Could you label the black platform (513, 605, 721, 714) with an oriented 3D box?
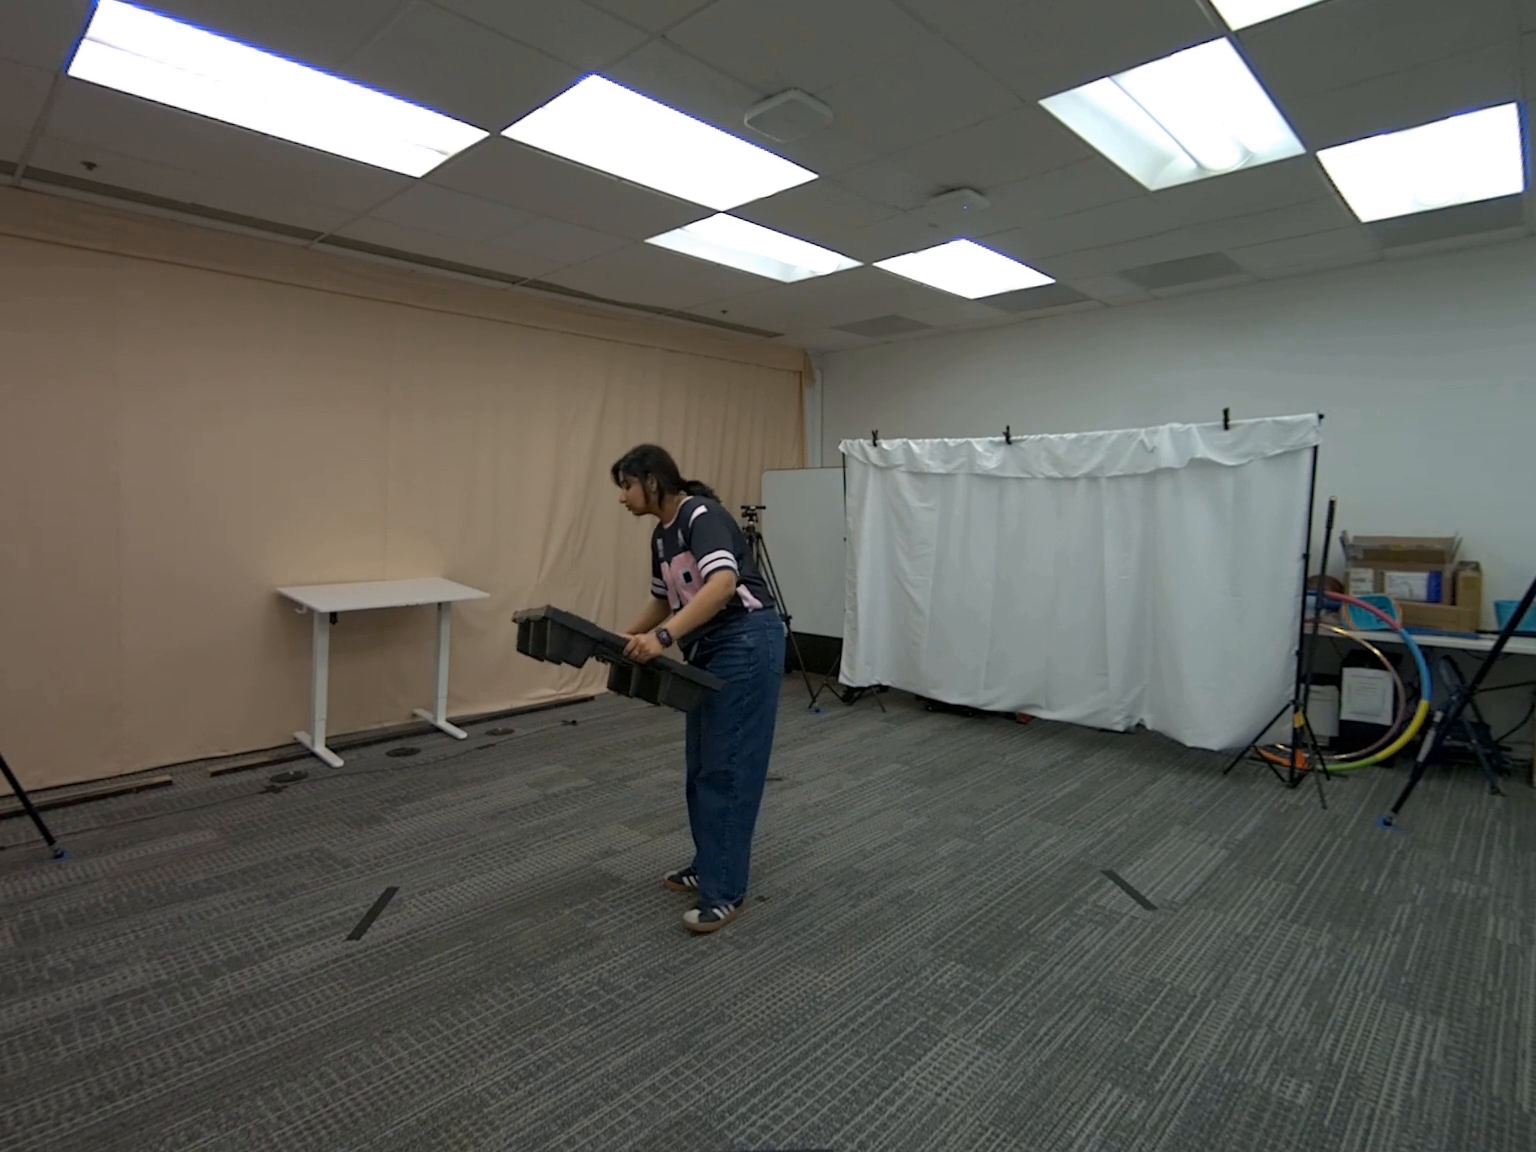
[{"bbox_3d":[-0.556,0.303,2.837,0.593,0.143,0.821,27,-14,-18],"label":"black platform"}]
